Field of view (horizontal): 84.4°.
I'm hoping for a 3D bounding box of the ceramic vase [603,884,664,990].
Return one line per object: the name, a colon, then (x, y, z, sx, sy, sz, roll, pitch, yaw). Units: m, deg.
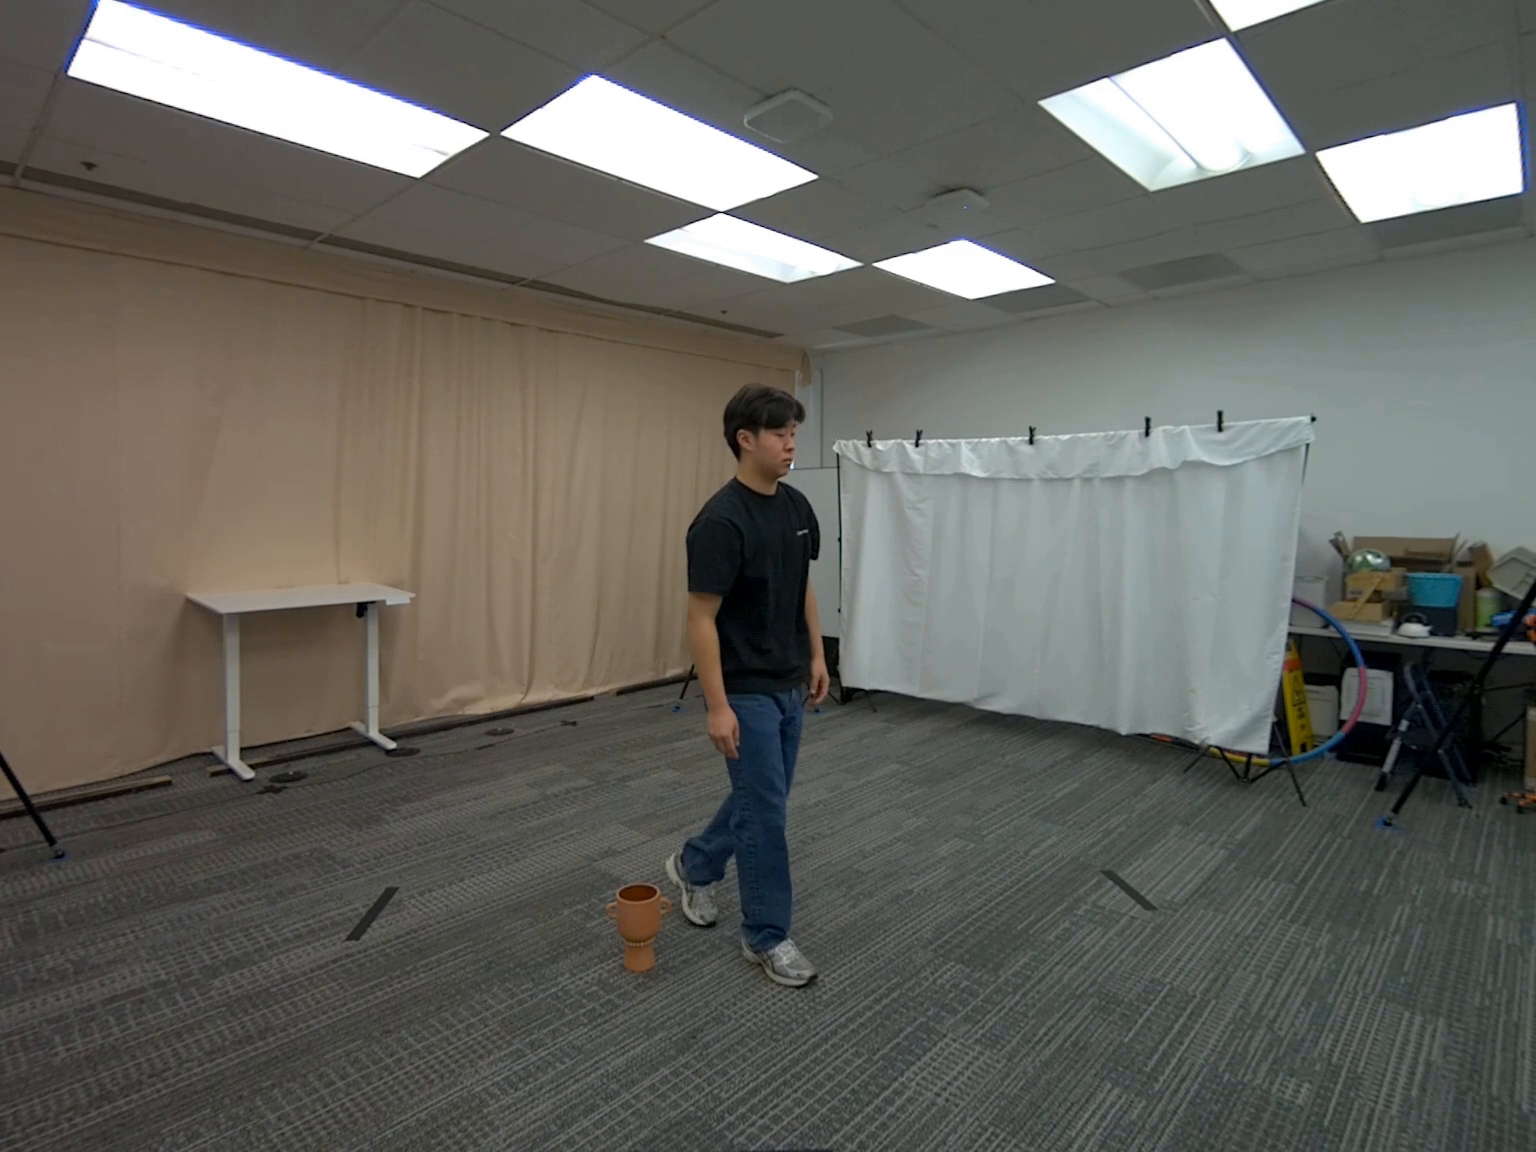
ceramic vase: (-0.408, 1.079, 2.550, 0.131, 0.219, 0.163, -1, 4, -26)
